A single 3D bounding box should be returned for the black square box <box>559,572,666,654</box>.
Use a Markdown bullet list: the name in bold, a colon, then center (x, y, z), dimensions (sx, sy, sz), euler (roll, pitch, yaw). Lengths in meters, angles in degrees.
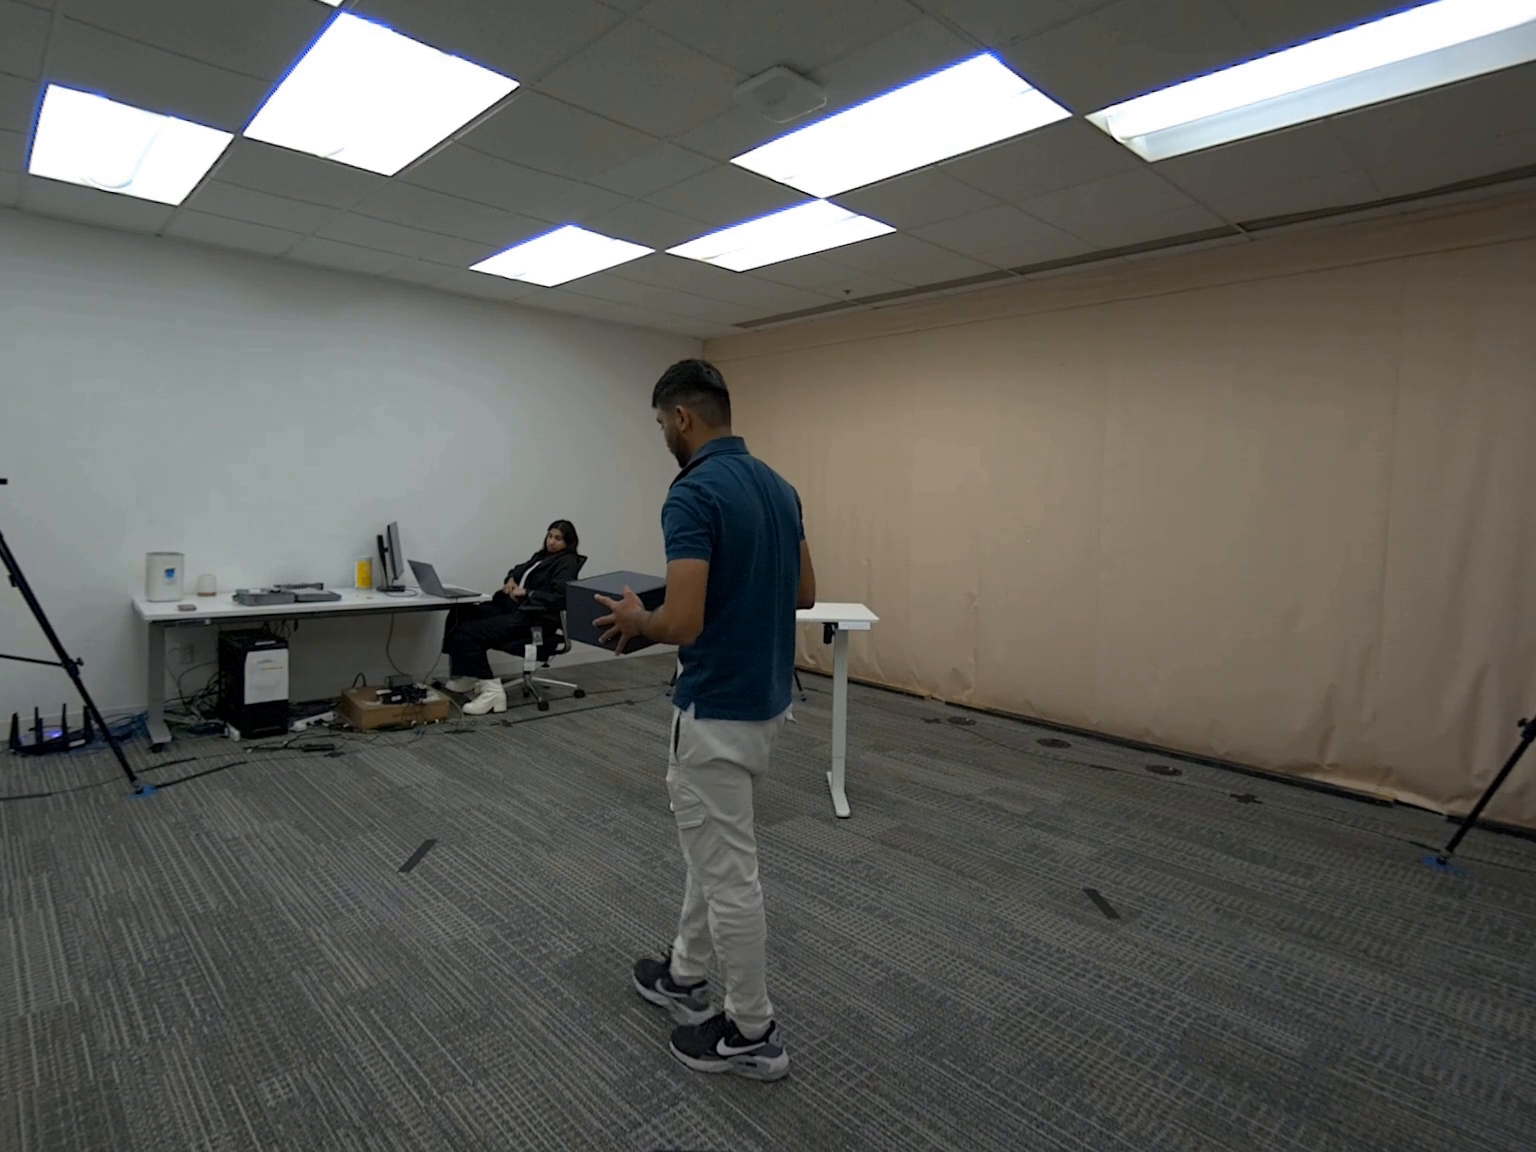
- **black square box**: center (-0.398, 0.090, 2.259), dimensions (0.233, 0.155, 0.213), euler (7, 11, 36)
